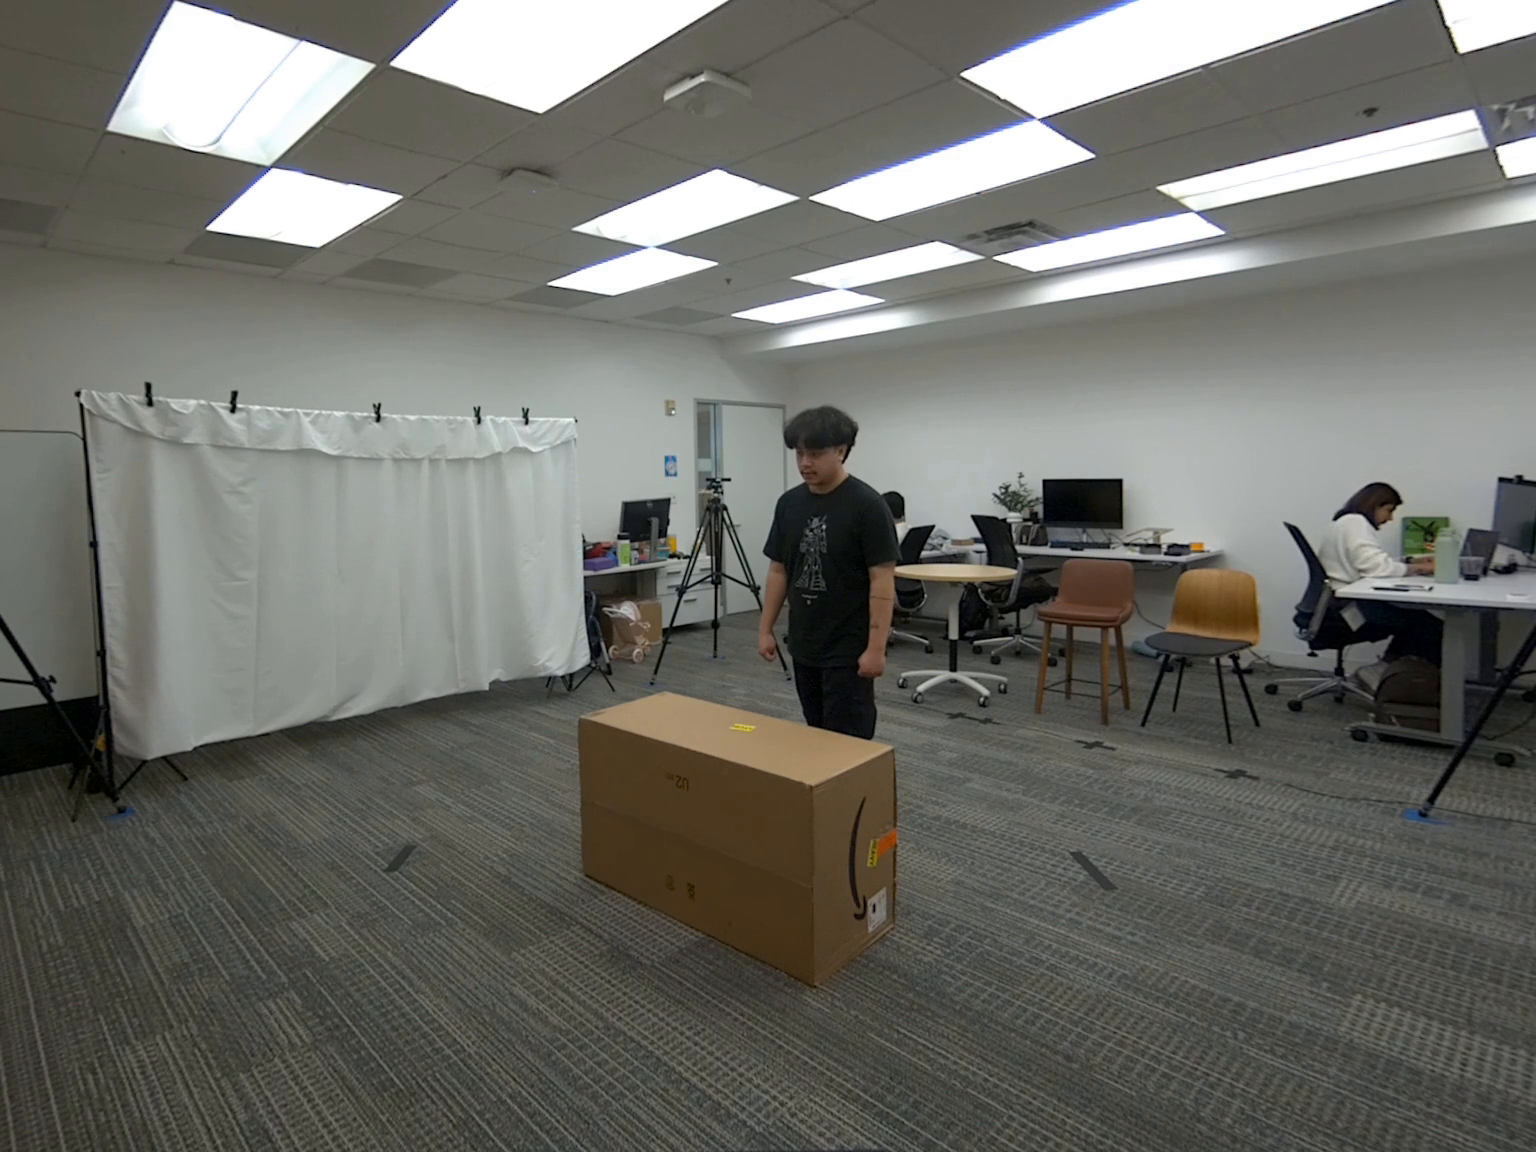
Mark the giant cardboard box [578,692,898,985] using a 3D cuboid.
[{"bbox_3d":[-0.135,0.792,2.814,1.059,0.581,0.435,5,7,41],"label":"giant cardboard box"}]
